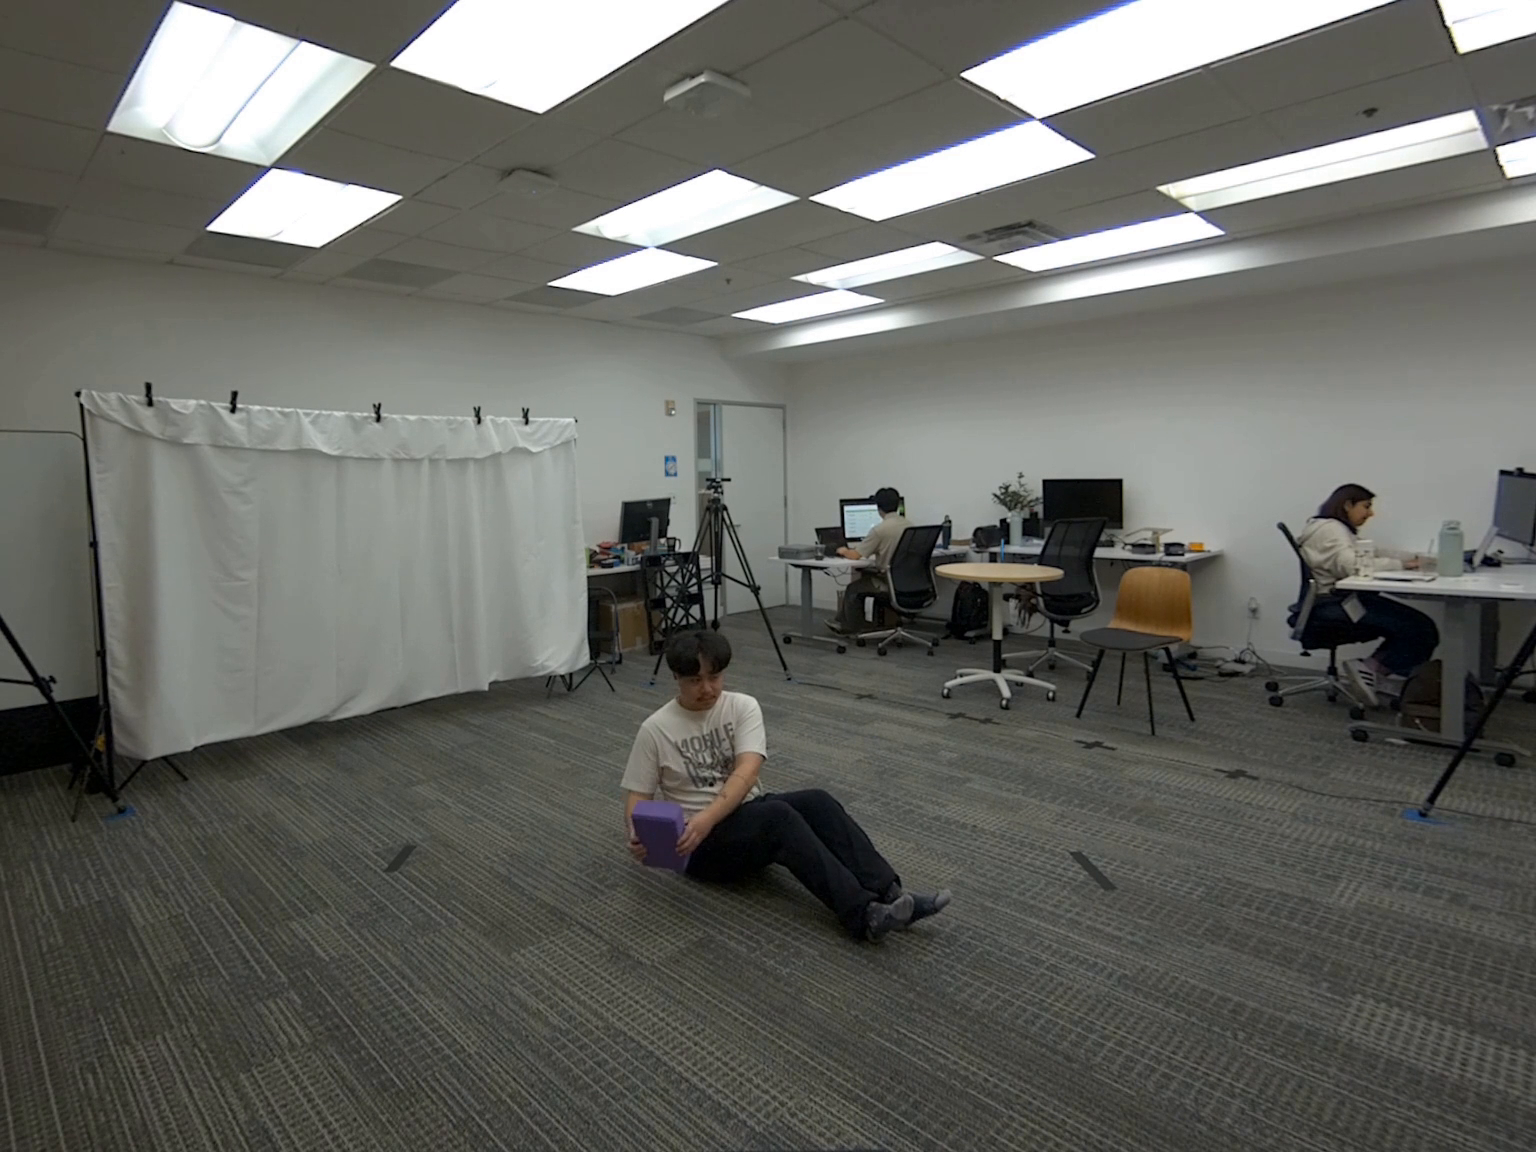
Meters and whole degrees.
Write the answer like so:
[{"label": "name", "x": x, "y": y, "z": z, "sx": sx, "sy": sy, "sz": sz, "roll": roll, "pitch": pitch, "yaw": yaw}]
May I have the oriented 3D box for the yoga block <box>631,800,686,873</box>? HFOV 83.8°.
[{"label": "yoga block", "x": -0.334, "y": 0.820, "z": 2.689, "sx": 0.151, "sy": 0.223, "sz": 0.077, "roll": 0, "pitch": 29, "yaw": 15}]
